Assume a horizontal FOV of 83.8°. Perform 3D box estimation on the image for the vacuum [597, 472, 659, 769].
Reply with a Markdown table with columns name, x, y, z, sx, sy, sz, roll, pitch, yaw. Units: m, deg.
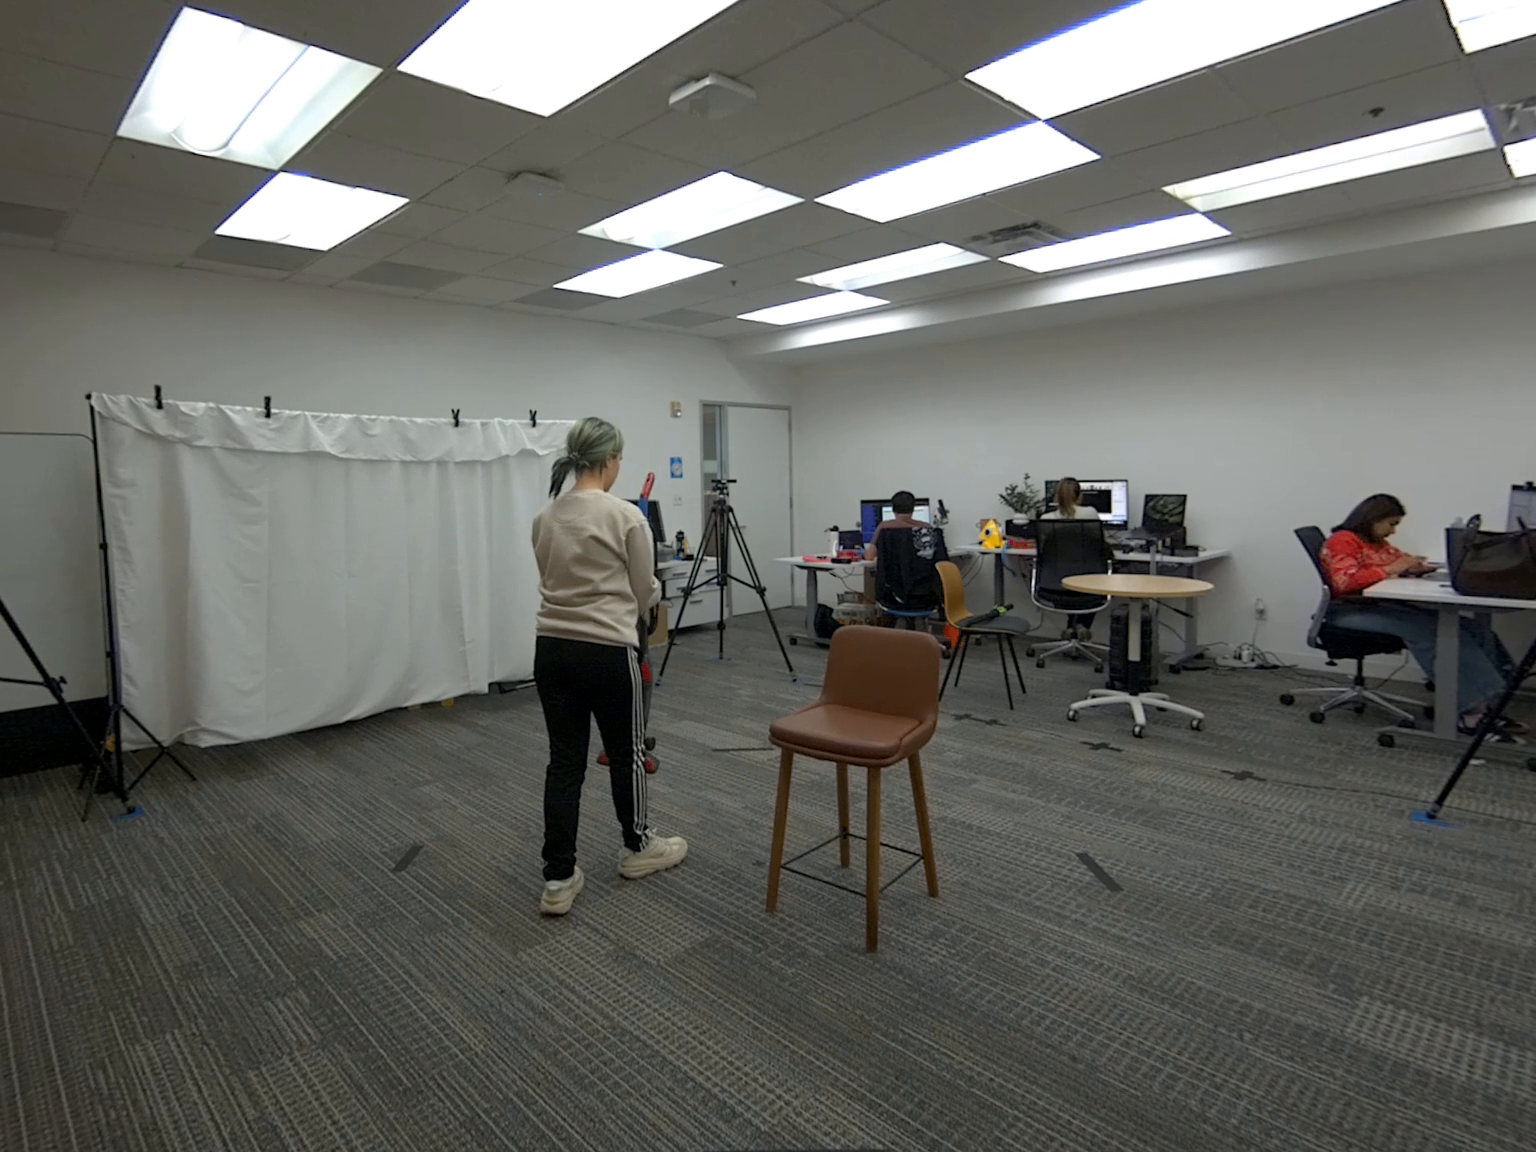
| name | x | y | z | sx | sy | sz | roll | pitch | yaw |
| --- | --- | --- | --- | --- | --- | --- | --- | --- | --- |
| vacuum | -0.473 | 0.136 | 3.237 | 0.258 | 1.053 | 0.140 | 2 | -4 | 22 |
